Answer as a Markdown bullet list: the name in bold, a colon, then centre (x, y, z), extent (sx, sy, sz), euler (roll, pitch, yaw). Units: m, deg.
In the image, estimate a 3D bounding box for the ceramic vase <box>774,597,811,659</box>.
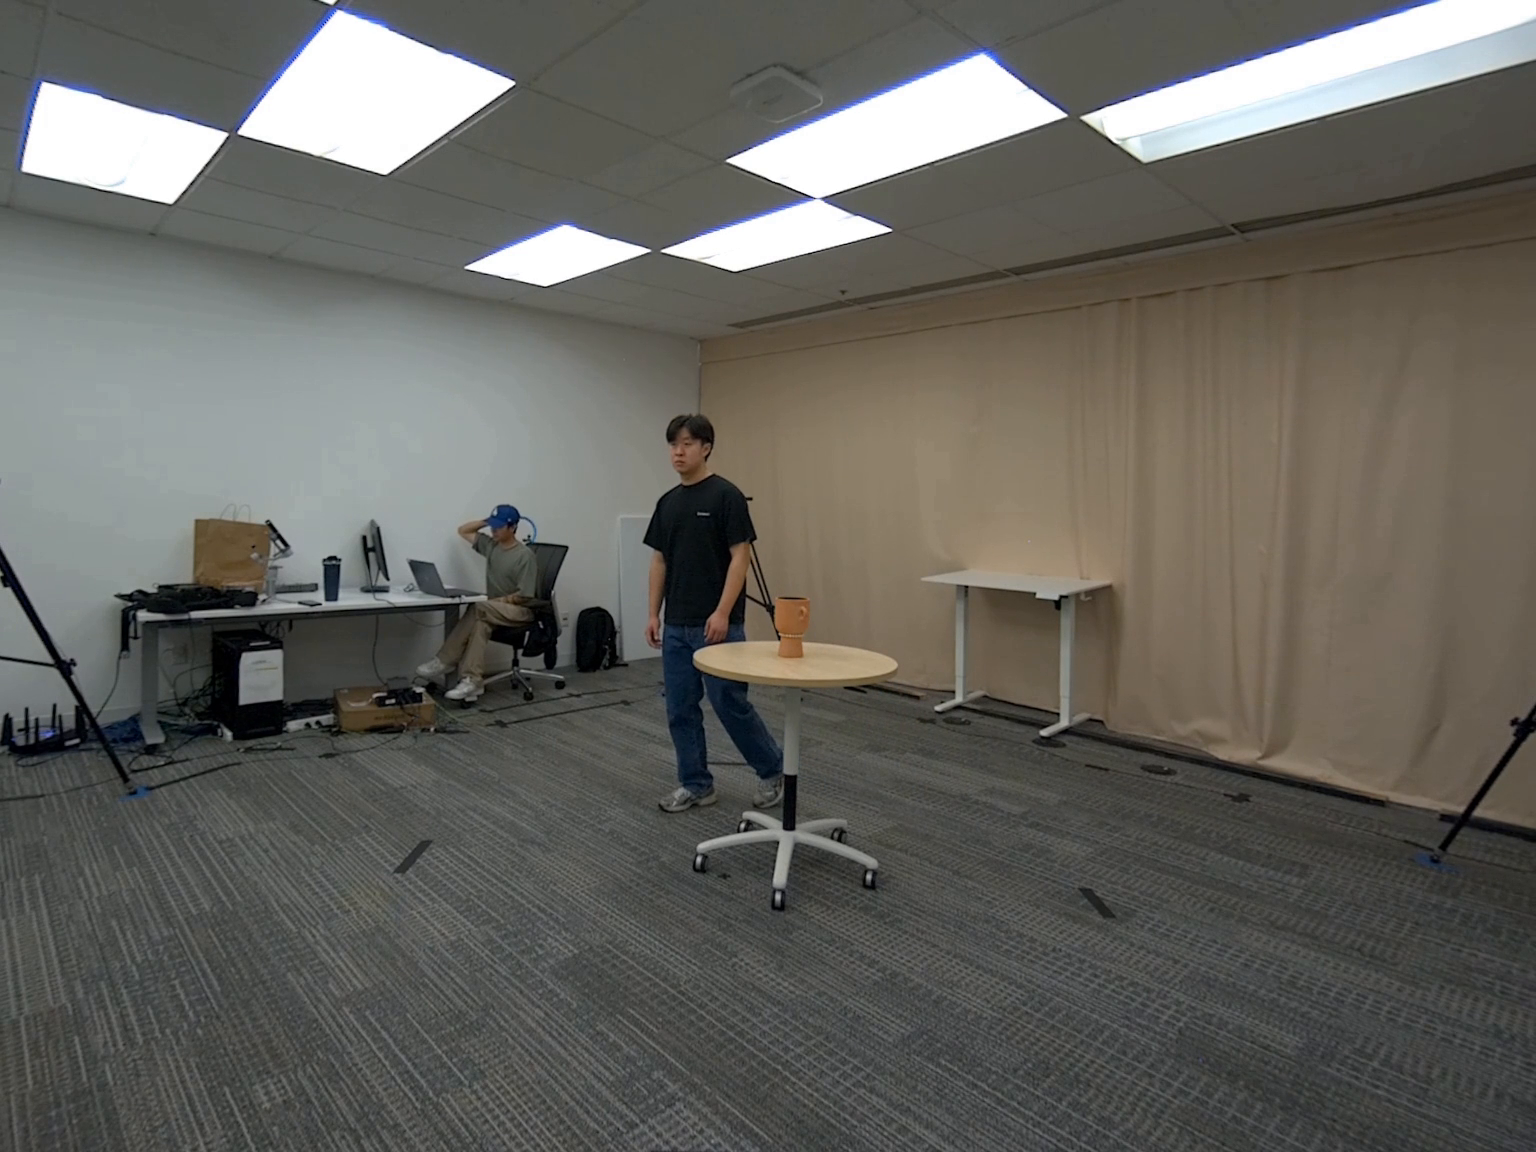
- **ceramic vase**: centre (0.082, 0.198, 3.220), extent (0.136, 0.219, 0.157), euler (1, 2, 11)
